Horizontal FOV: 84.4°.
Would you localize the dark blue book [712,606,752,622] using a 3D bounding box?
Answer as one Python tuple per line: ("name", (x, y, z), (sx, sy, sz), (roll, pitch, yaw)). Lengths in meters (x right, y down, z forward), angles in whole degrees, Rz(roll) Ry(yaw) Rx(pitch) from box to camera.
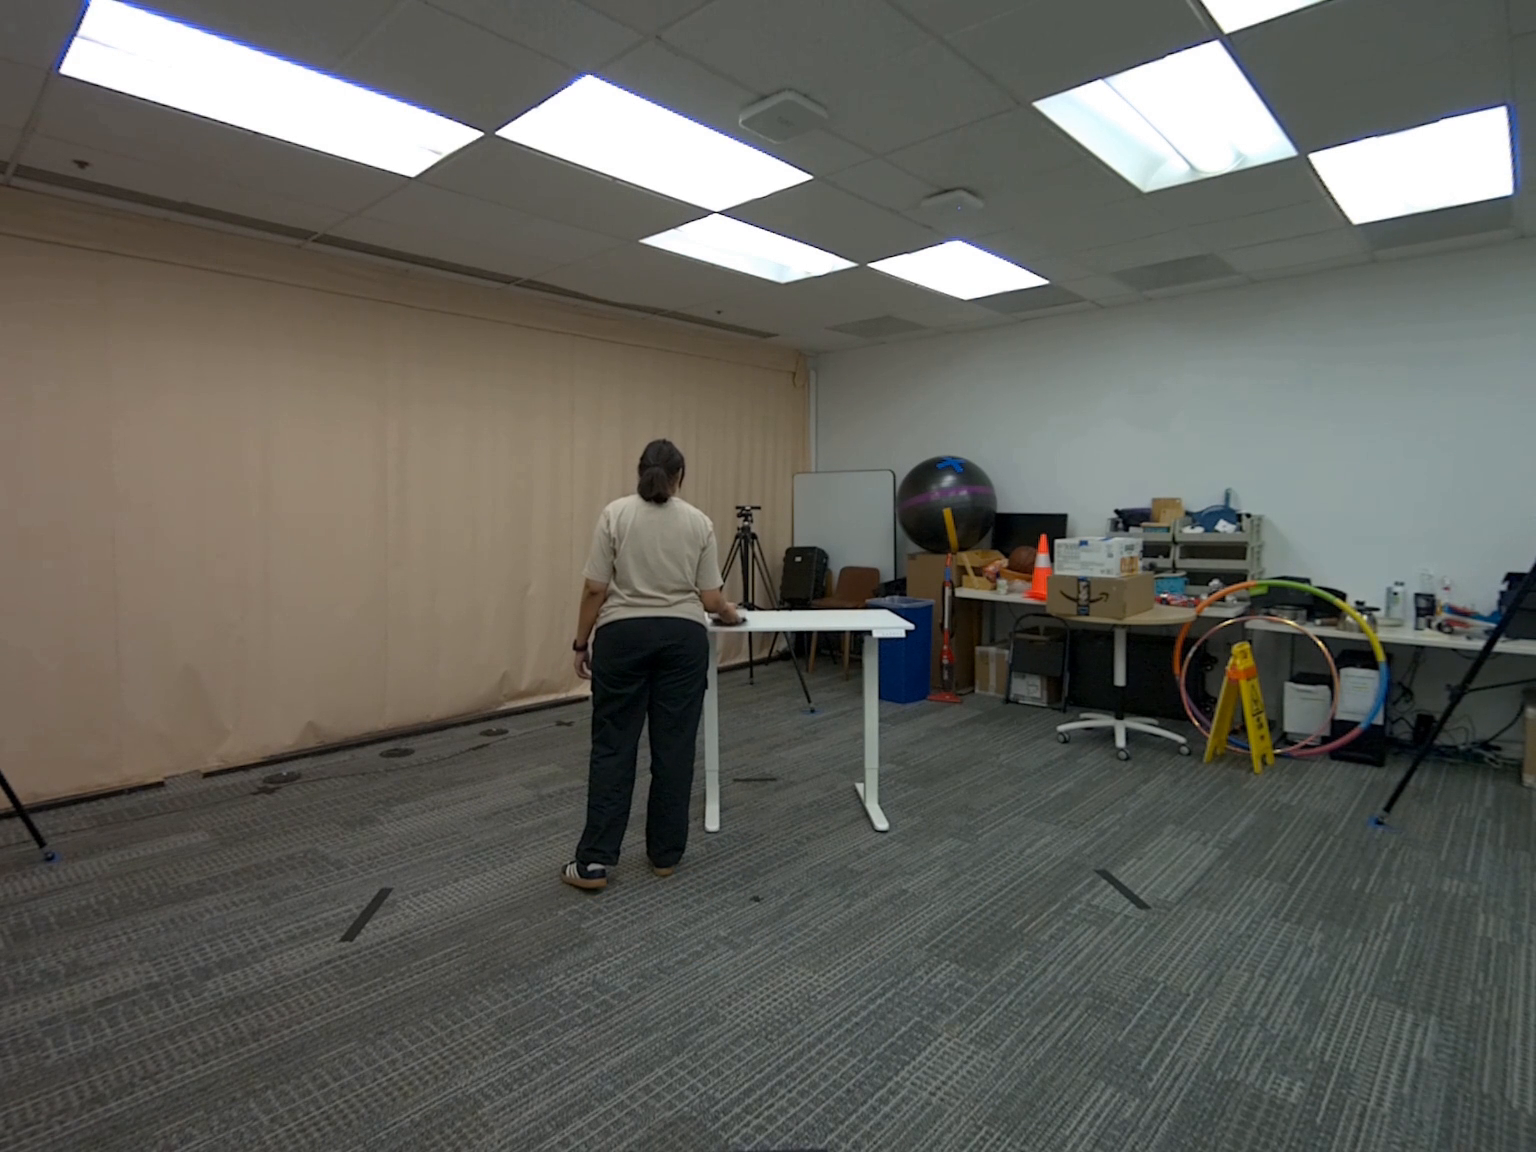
("dark blue book", (-0.160, 0.165, 3.708), (0.163, 0.045, 0.244), (-4, -4, -2))
